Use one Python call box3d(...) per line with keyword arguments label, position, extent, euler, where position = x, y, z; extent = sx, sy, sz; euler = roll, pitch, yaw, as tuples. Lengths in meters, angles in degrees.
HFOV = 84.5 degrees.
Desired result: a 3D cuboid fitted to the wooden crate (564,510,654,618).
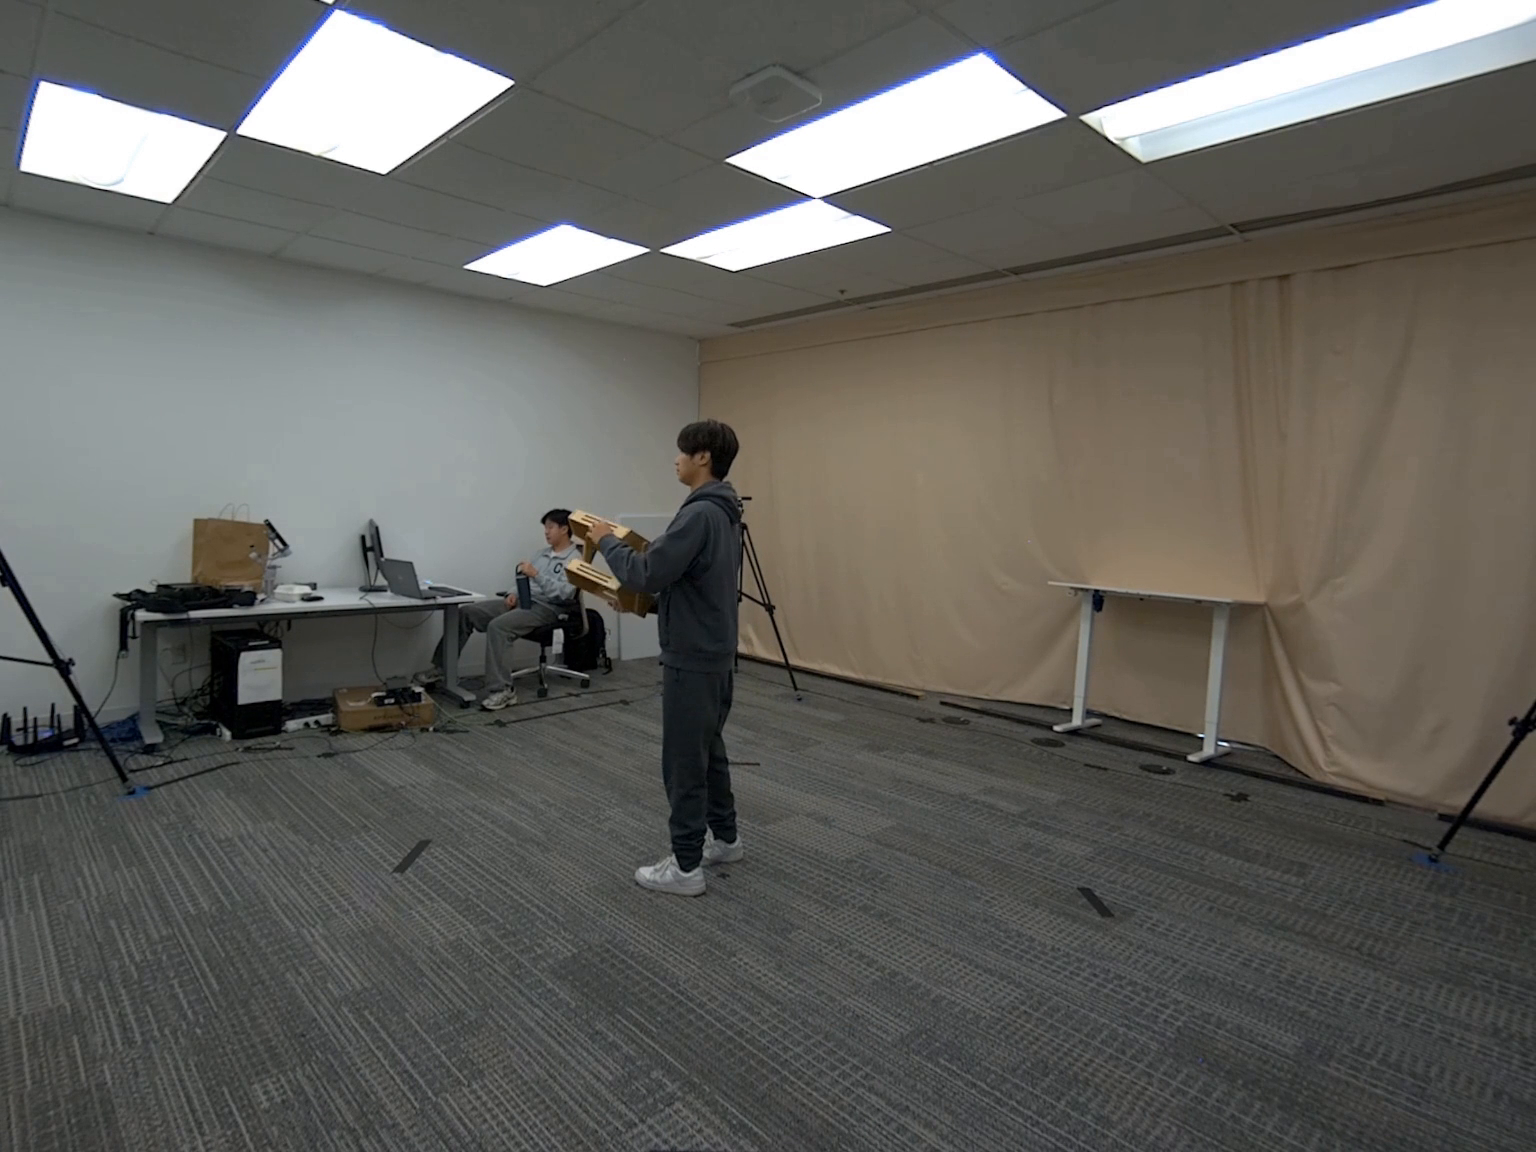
box3d(label="wooden crate", position=(-0.599, -0.043, 3.160), extent=(0.334, 0.274, 0.293), euler=(21, -9, 36))
